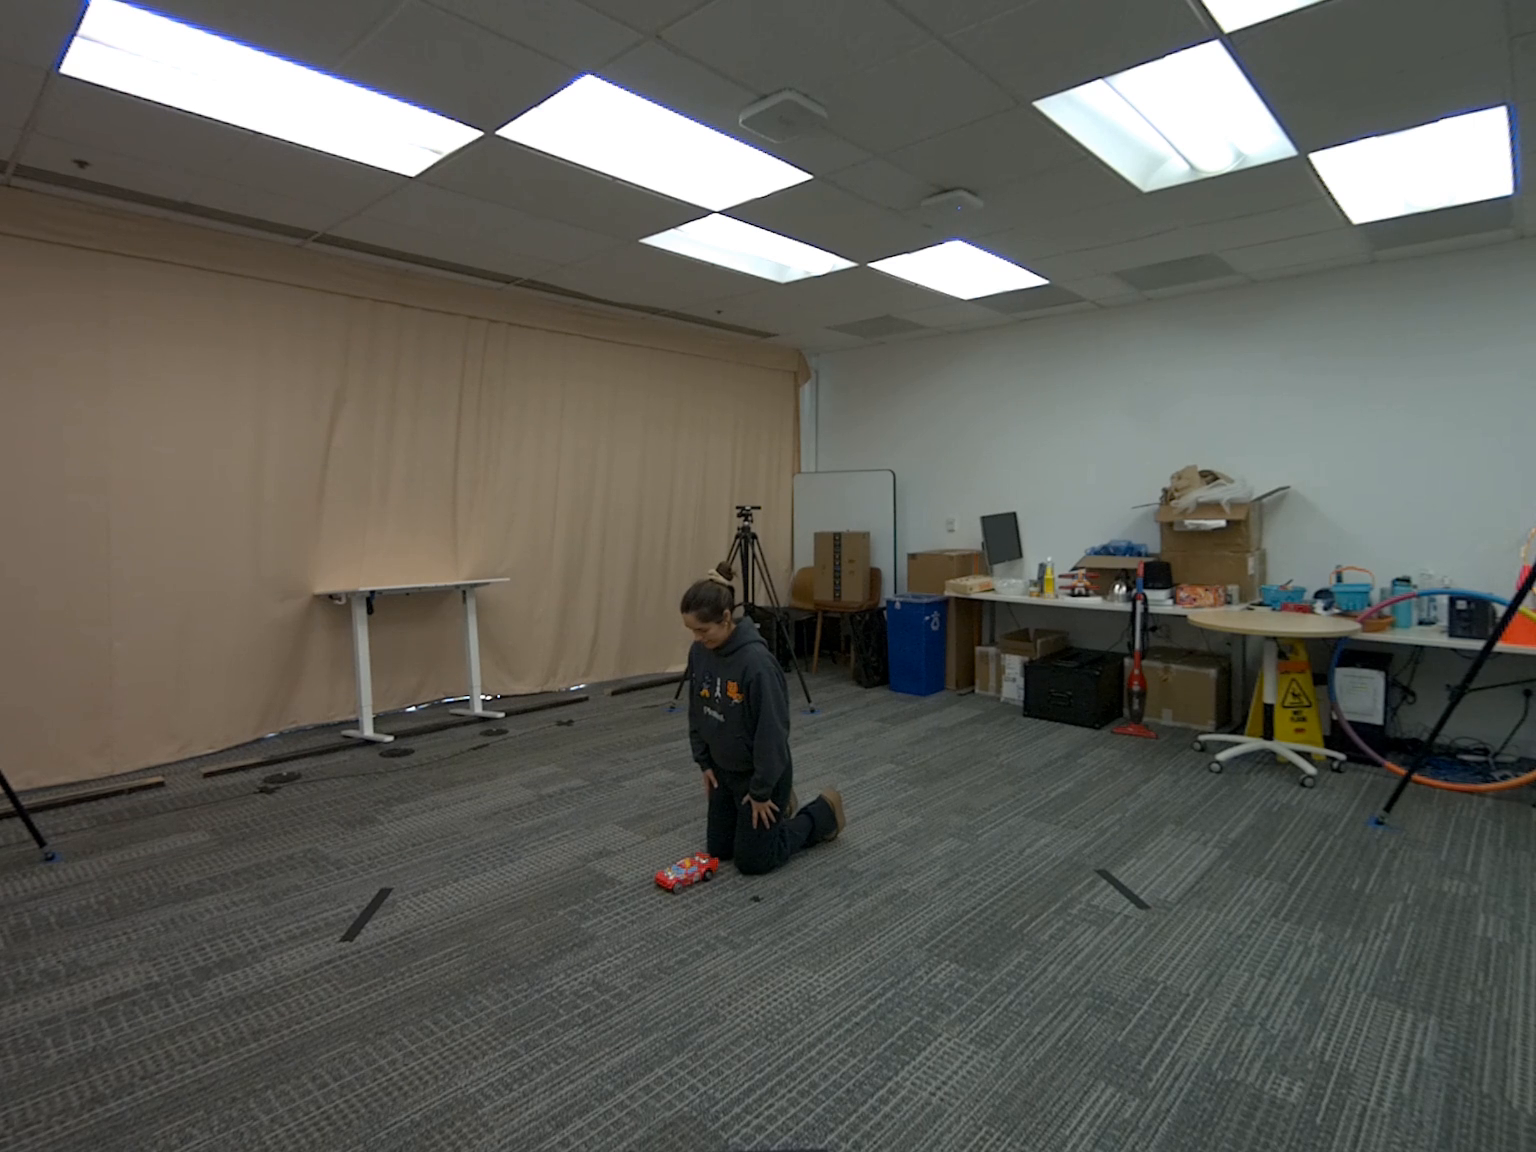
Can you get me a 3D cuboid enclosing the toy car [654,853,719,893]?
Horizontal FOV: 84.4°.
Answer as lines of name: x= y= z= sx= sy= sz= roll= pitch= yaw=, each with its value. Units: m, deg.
toy car: x=-0.279 y=1.107 z=3.133 sx=0.248 sy=0.082 sz=0.134 roll=-20 pitch=15 yaw=-41
